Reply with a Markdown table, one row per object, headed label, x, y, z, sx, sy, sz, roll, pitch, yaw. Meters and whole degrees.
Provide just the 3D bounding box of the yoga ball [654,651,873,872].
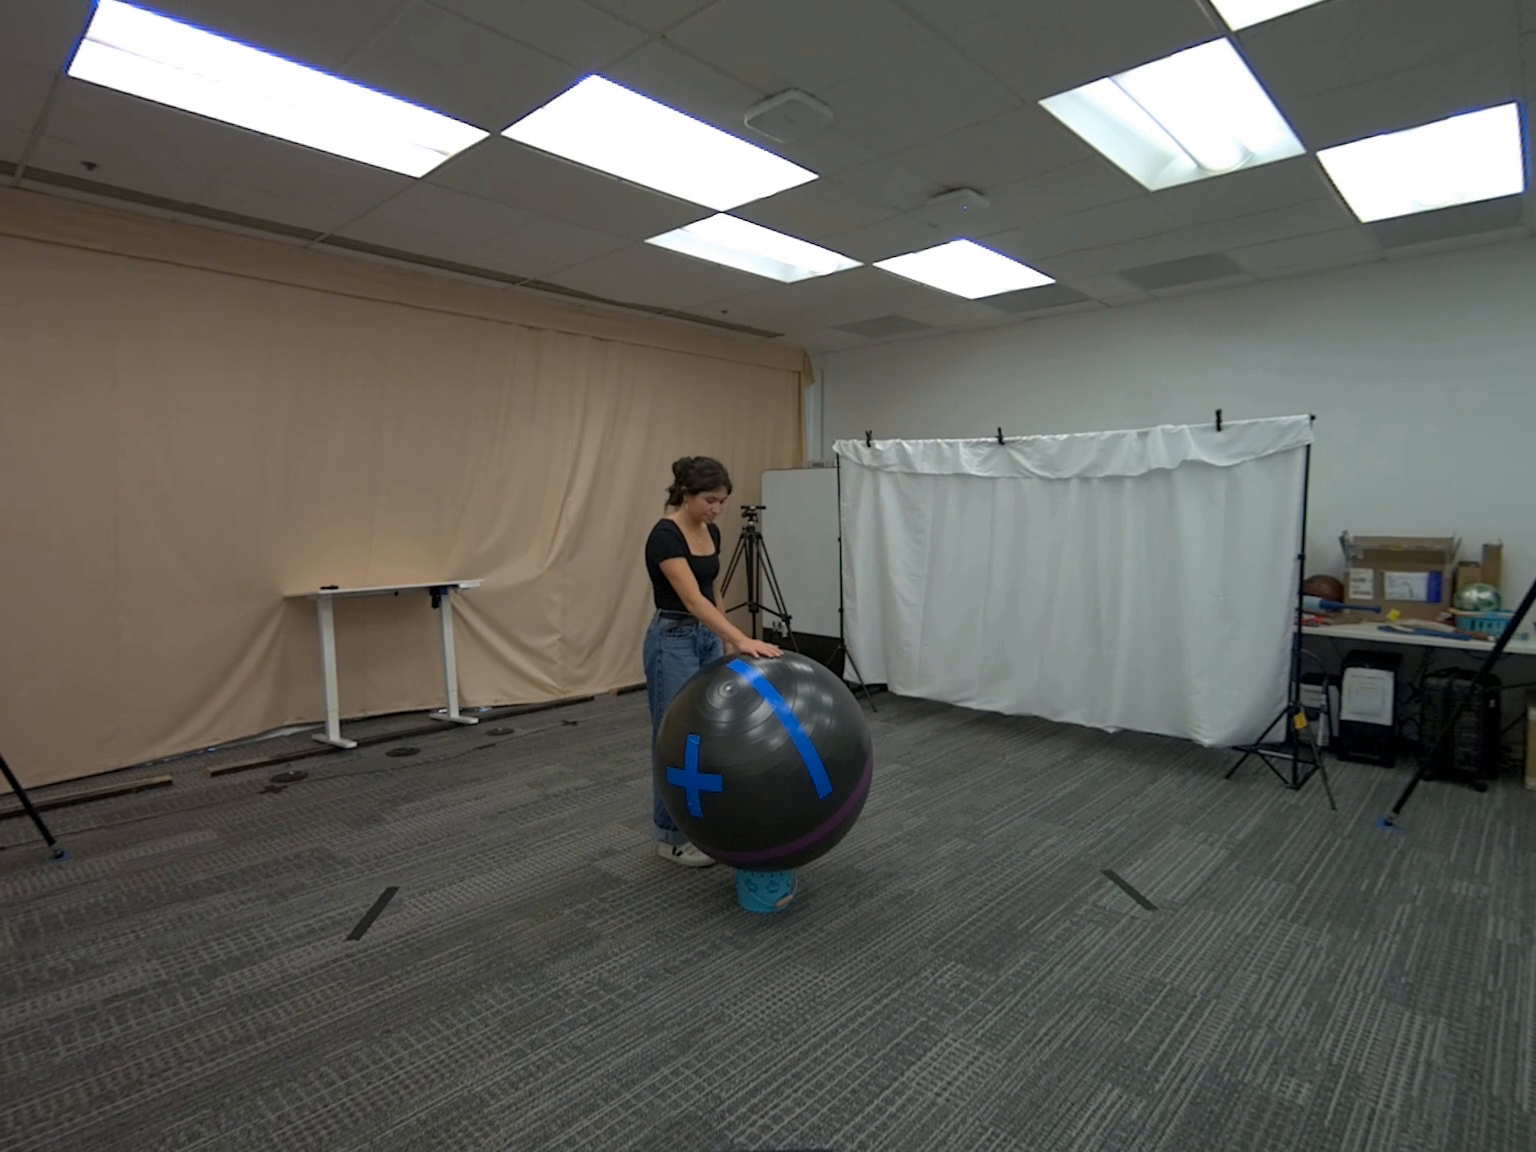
| label | x | y | z | sx | sy | sz | roll | pitch | yaw |
| --- | --- | --- | --- | --- | --- | --- | --- | --- | --- |
| yoga ball | -0.014 | 0.634 | 2.950 | 0.757 | 0.756 | 0.760 | 0 | 4 | -2 |
